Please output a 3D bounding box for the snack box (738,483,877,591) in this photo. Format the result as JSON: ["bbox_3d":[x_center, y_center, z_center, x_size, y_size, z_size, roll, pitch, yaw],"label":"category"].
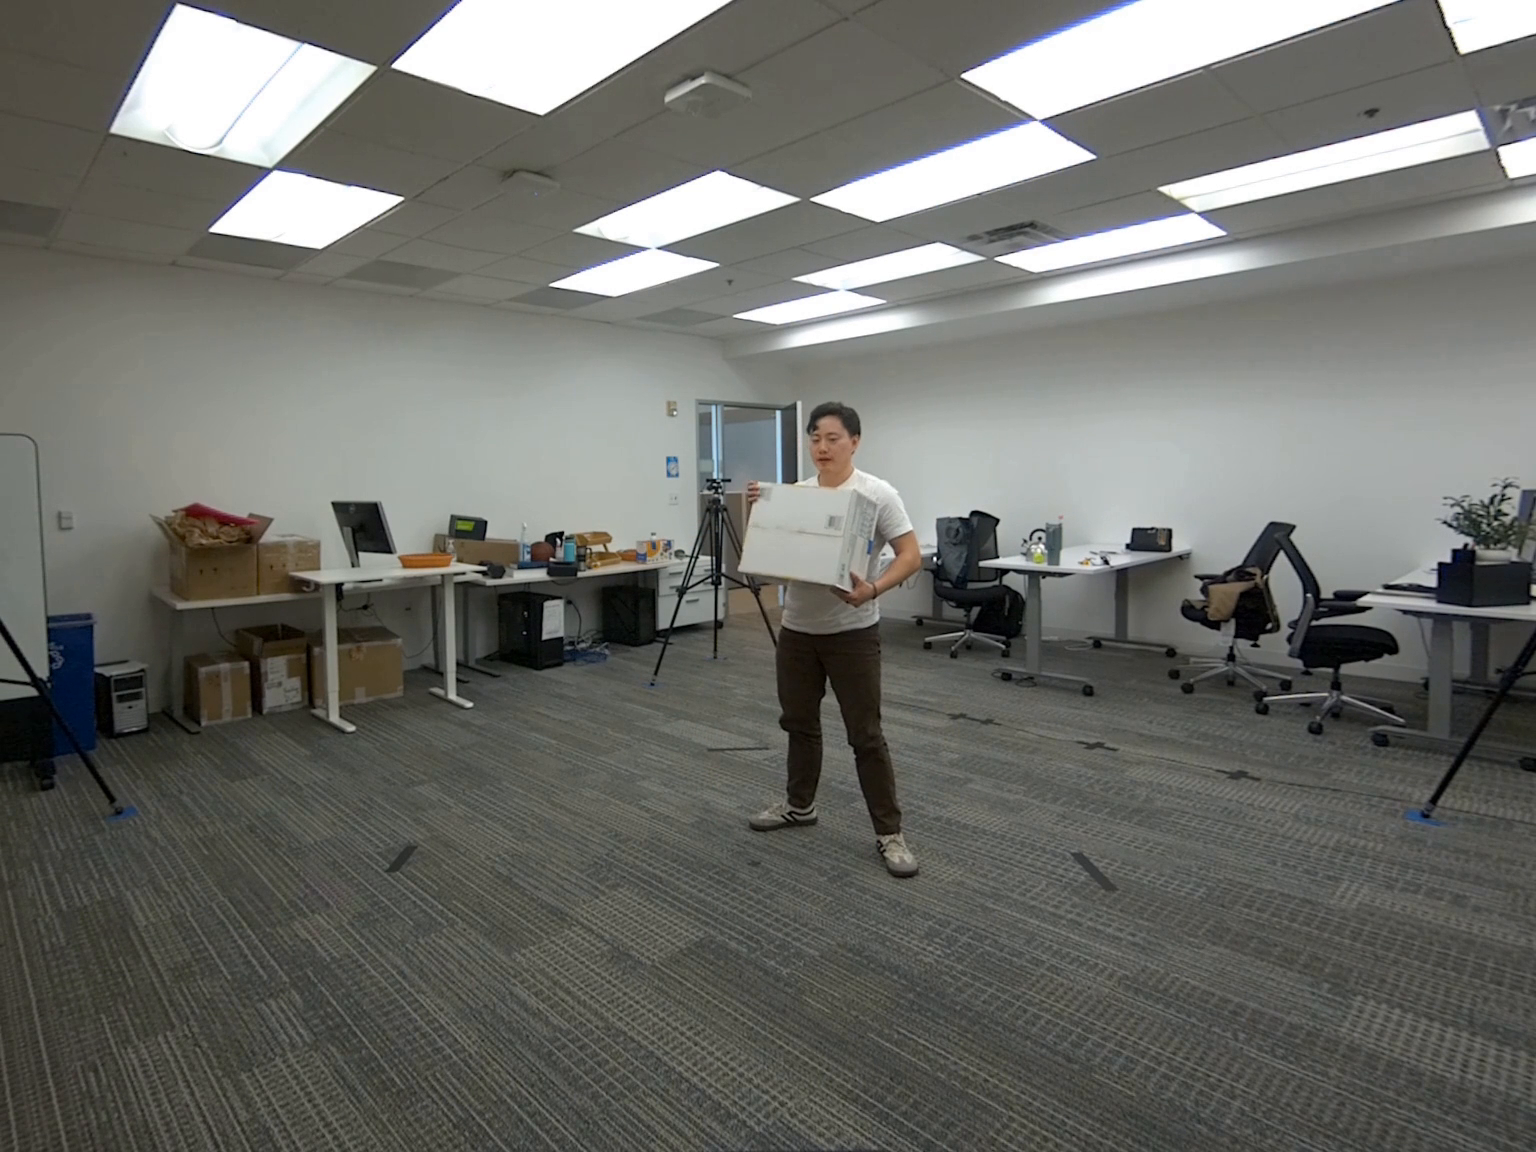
[{"bbox_3d":[0.143,-0.135,3.037,0.418,0.342,0.198,7,-9,36],"label":"snack box"}]
